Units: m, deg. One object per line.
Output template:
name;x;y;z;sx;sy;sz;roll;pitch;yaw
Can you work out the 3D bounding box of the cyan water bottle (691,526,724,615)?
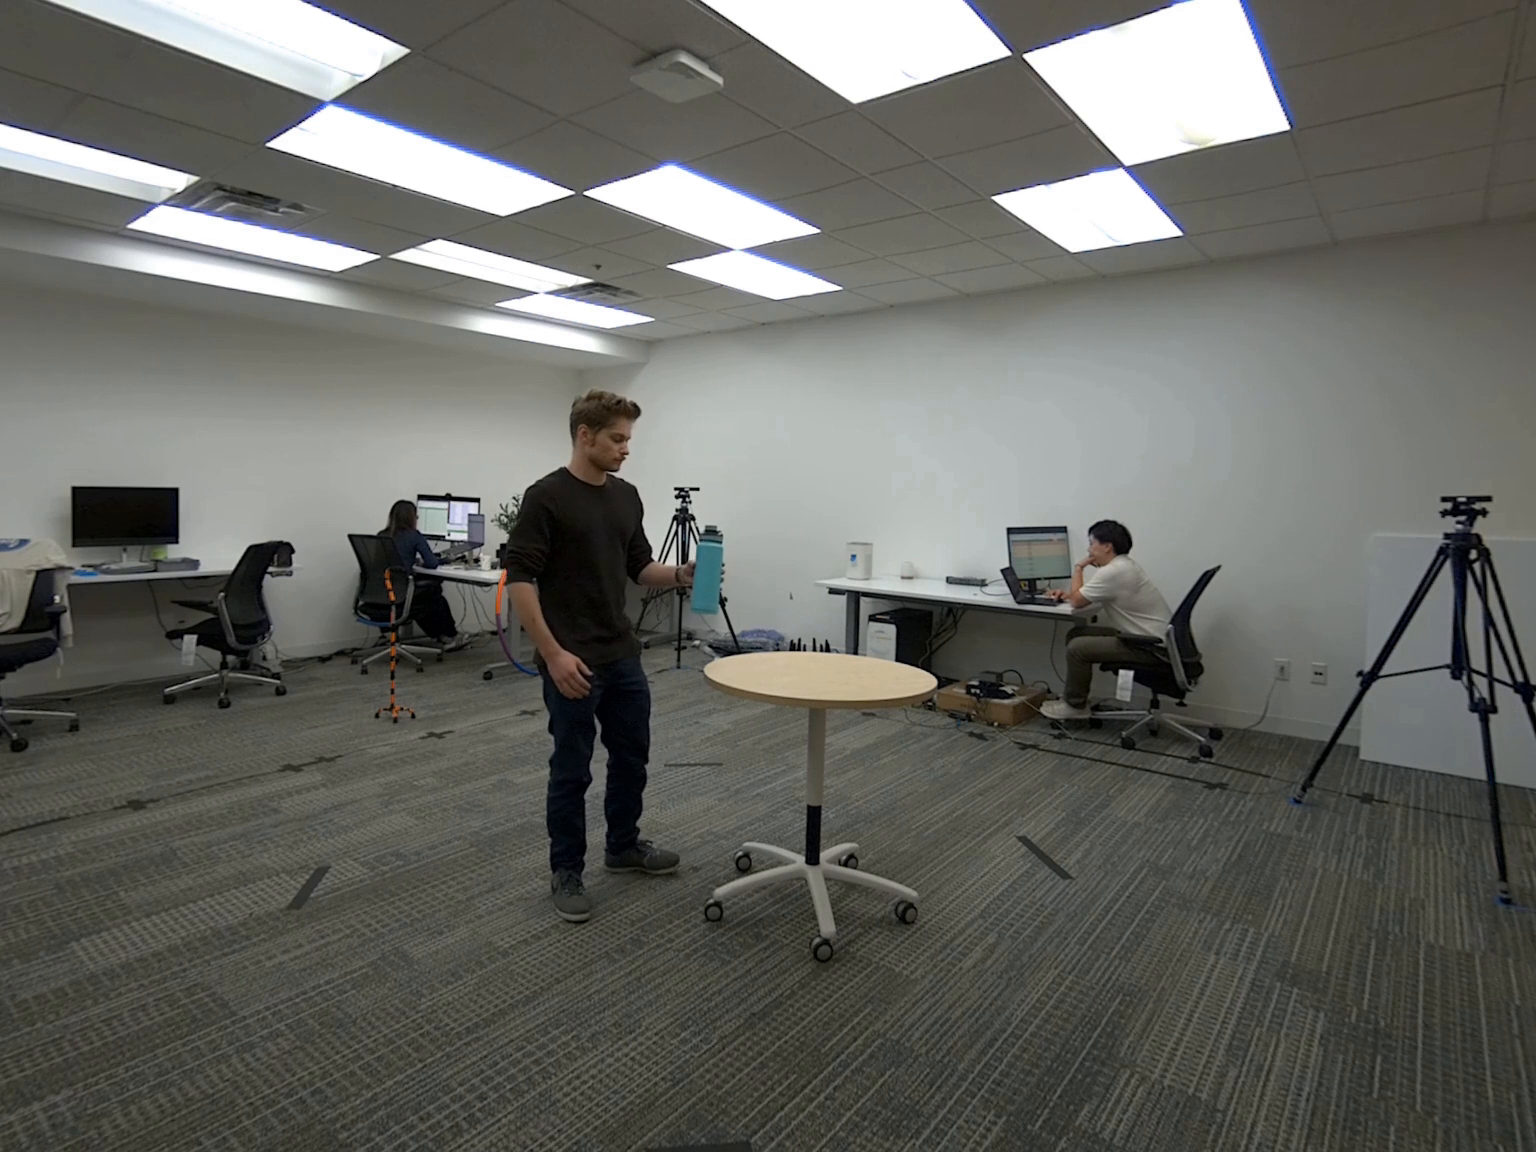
cyan water bottle;-0.202;-0.022;2.747;0.092;0.285;0.092;6;-6;-1
